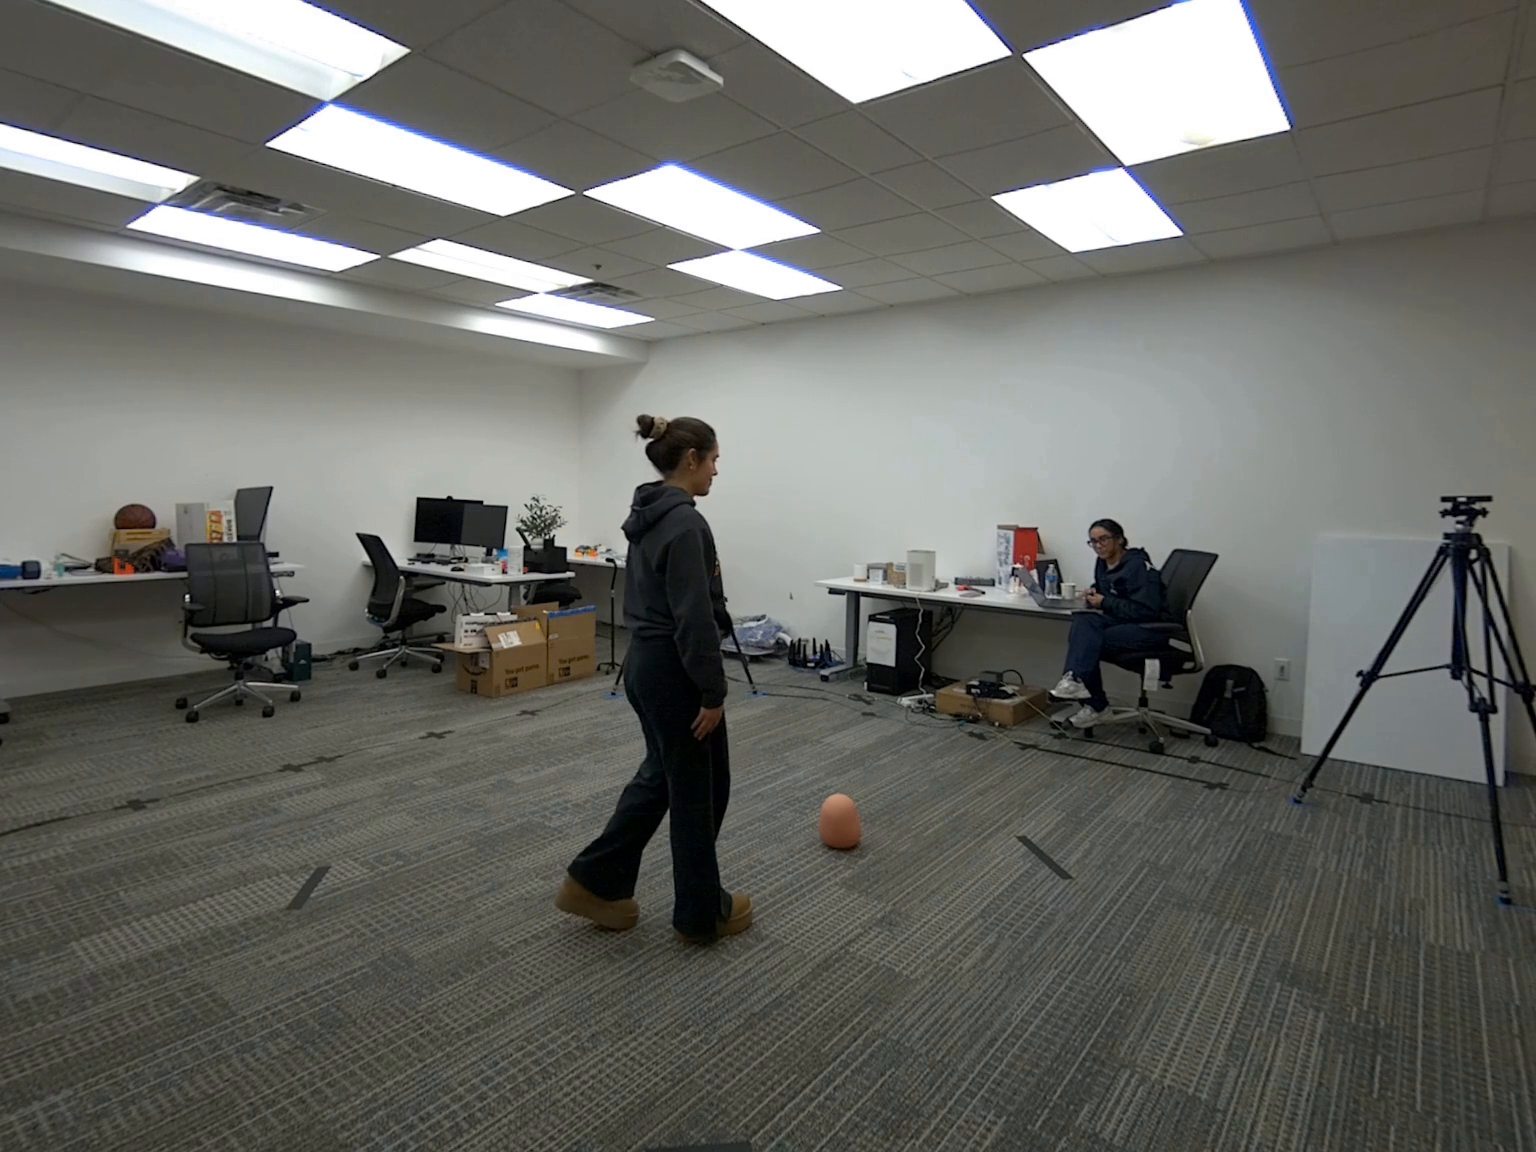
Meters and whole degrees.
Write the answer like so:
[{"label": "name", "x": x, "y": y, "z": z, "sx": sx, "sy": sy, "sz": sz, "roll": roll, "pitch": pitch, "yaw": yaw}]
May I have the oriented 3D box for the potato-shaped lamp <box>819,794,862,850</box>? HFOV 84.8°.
[{"label": "potato-shaped lamp", "x": 0.279, "y": 0.952, "z": 3.347, "sx": 0.170, "sy": 0.198, "sz": 0.167, "roll": 5, "pitch": 3, "yaw": 30}]
